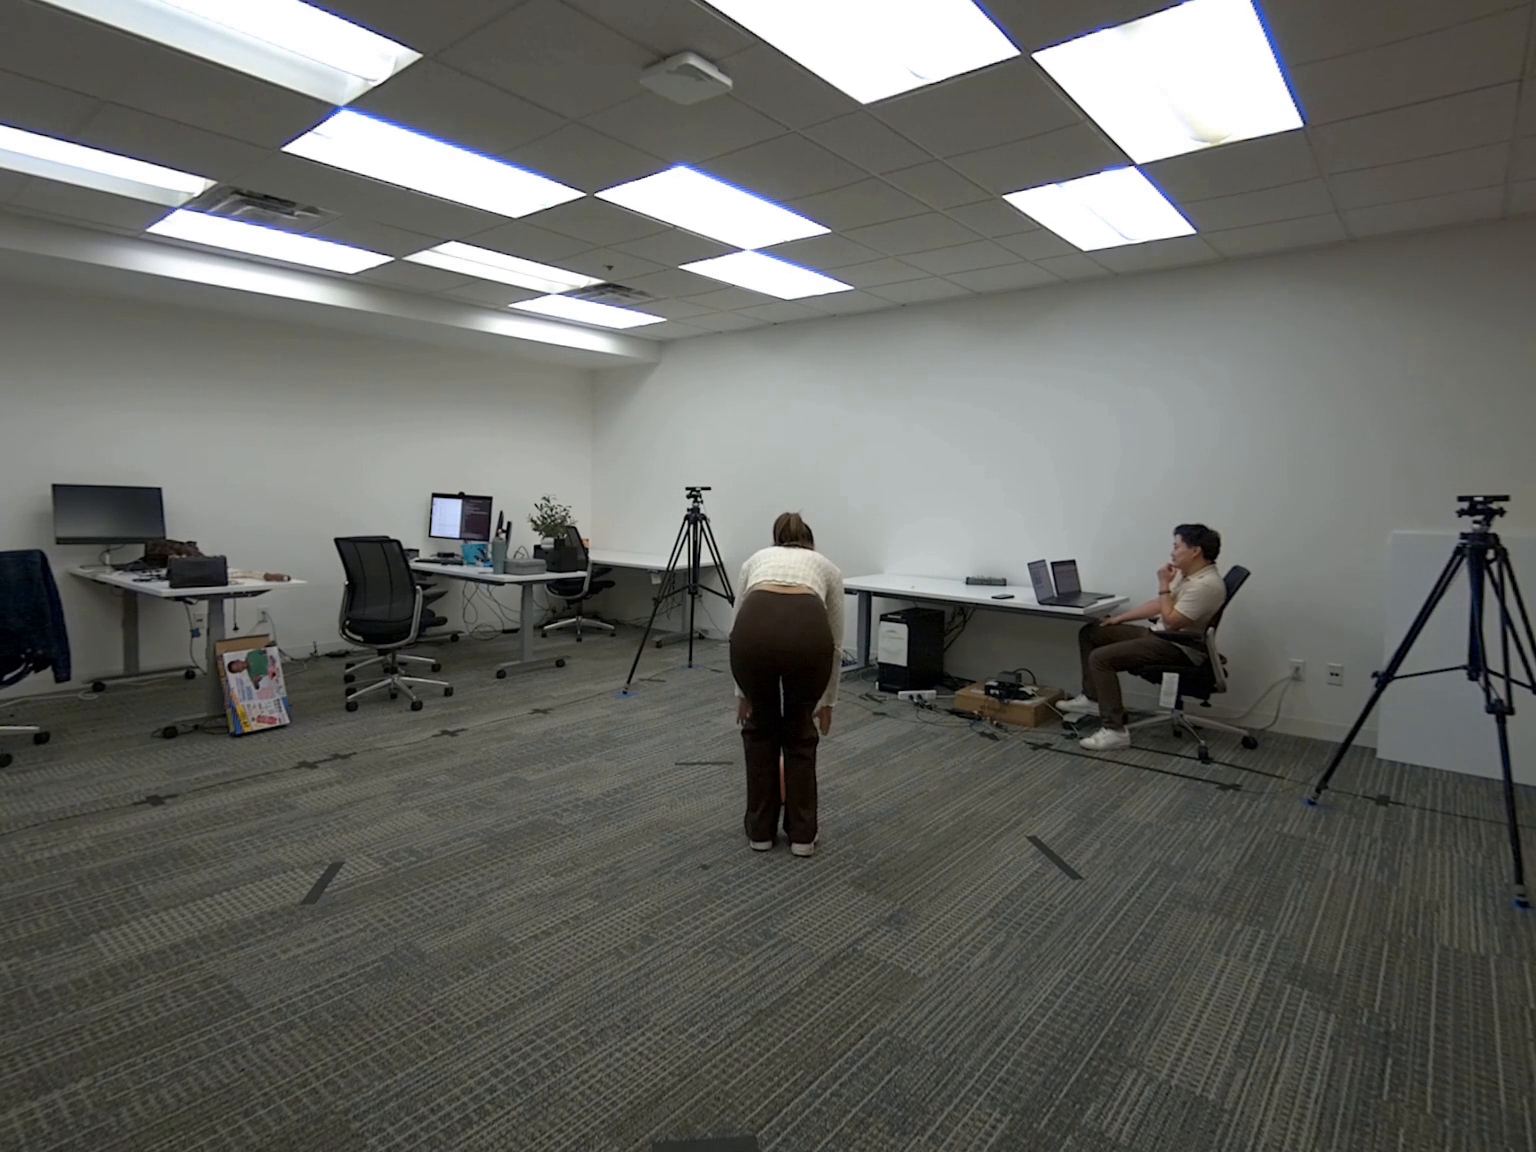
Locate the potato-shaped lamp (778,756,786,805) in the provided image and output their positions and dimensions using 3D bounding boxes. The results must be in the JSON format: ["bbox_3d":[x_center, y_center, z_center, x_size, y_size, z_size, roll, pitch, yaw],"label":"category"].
[{"bbox_3d":[0.060,0.895,3.798,0.169,0.197,0.167,3,5,28],"label":"potato-shaped lamp"}]
